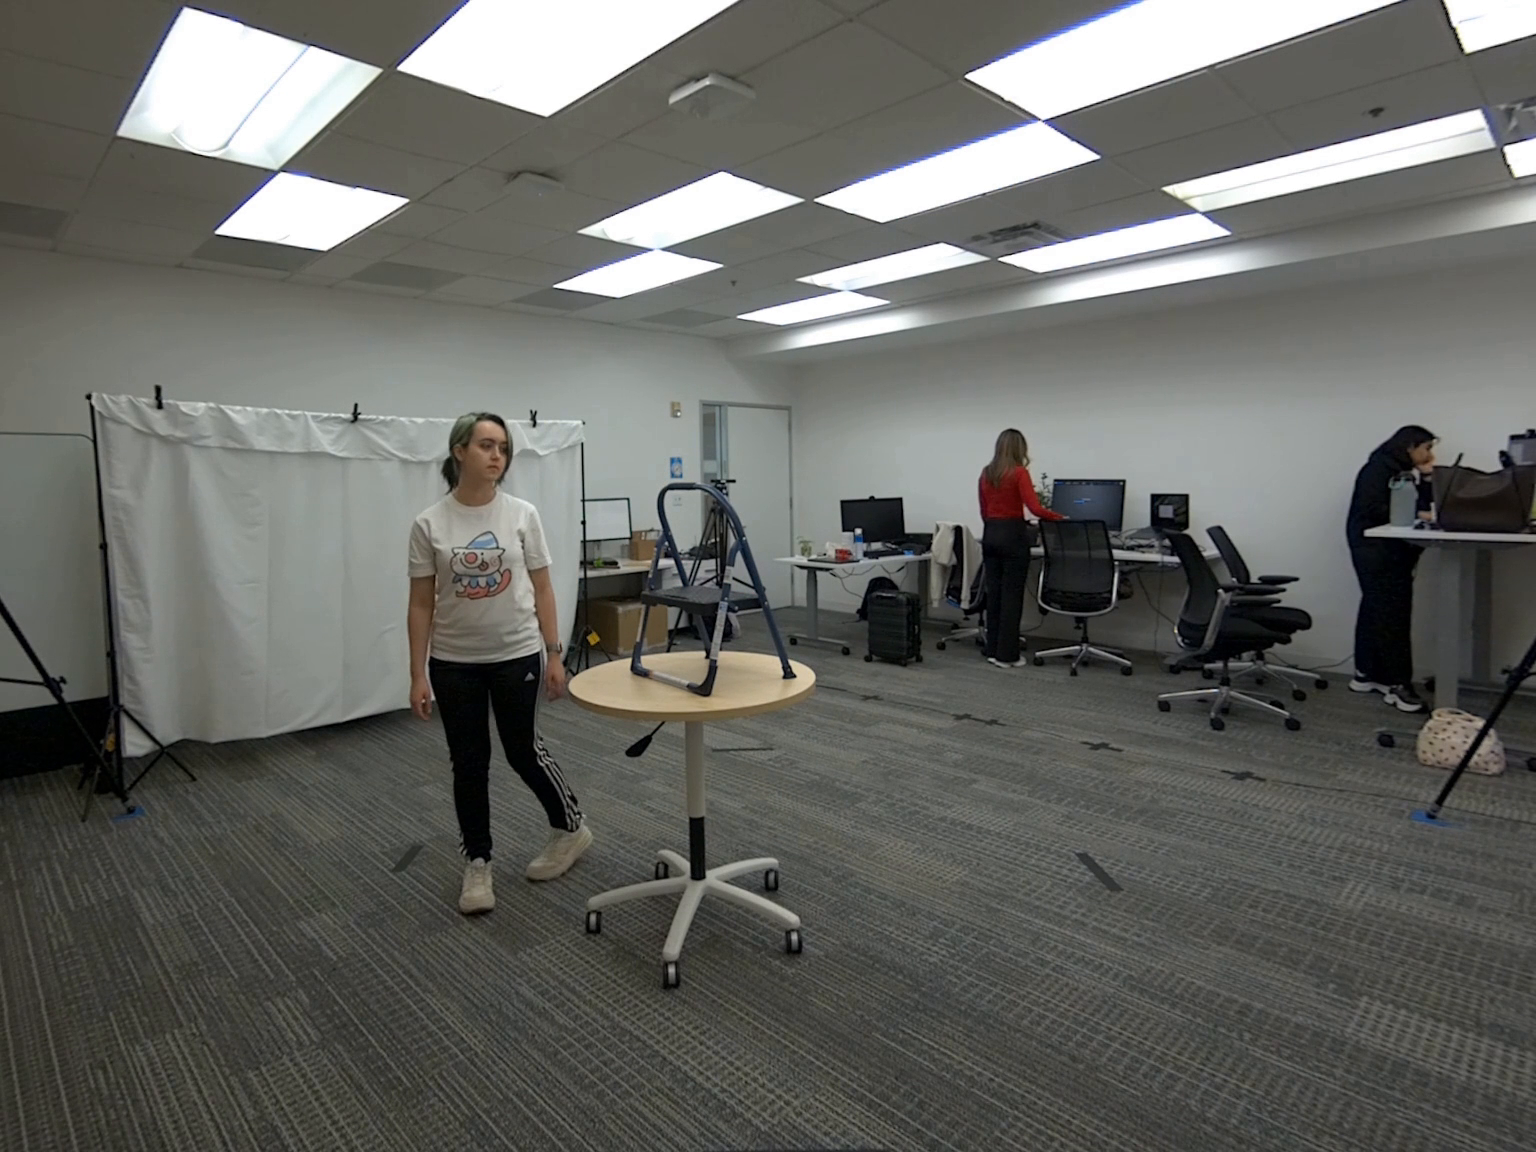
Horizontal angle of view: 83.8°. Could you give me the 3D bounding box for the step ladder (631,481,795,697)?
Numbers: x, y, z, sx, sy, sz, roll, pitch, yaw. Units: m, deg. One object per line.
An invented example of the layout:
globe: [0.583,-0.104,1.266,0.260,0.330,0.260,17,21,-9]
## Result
step ladder: [-0.191,0.015,2.665,0.340,0.604,0.444,-5,6,-40]
